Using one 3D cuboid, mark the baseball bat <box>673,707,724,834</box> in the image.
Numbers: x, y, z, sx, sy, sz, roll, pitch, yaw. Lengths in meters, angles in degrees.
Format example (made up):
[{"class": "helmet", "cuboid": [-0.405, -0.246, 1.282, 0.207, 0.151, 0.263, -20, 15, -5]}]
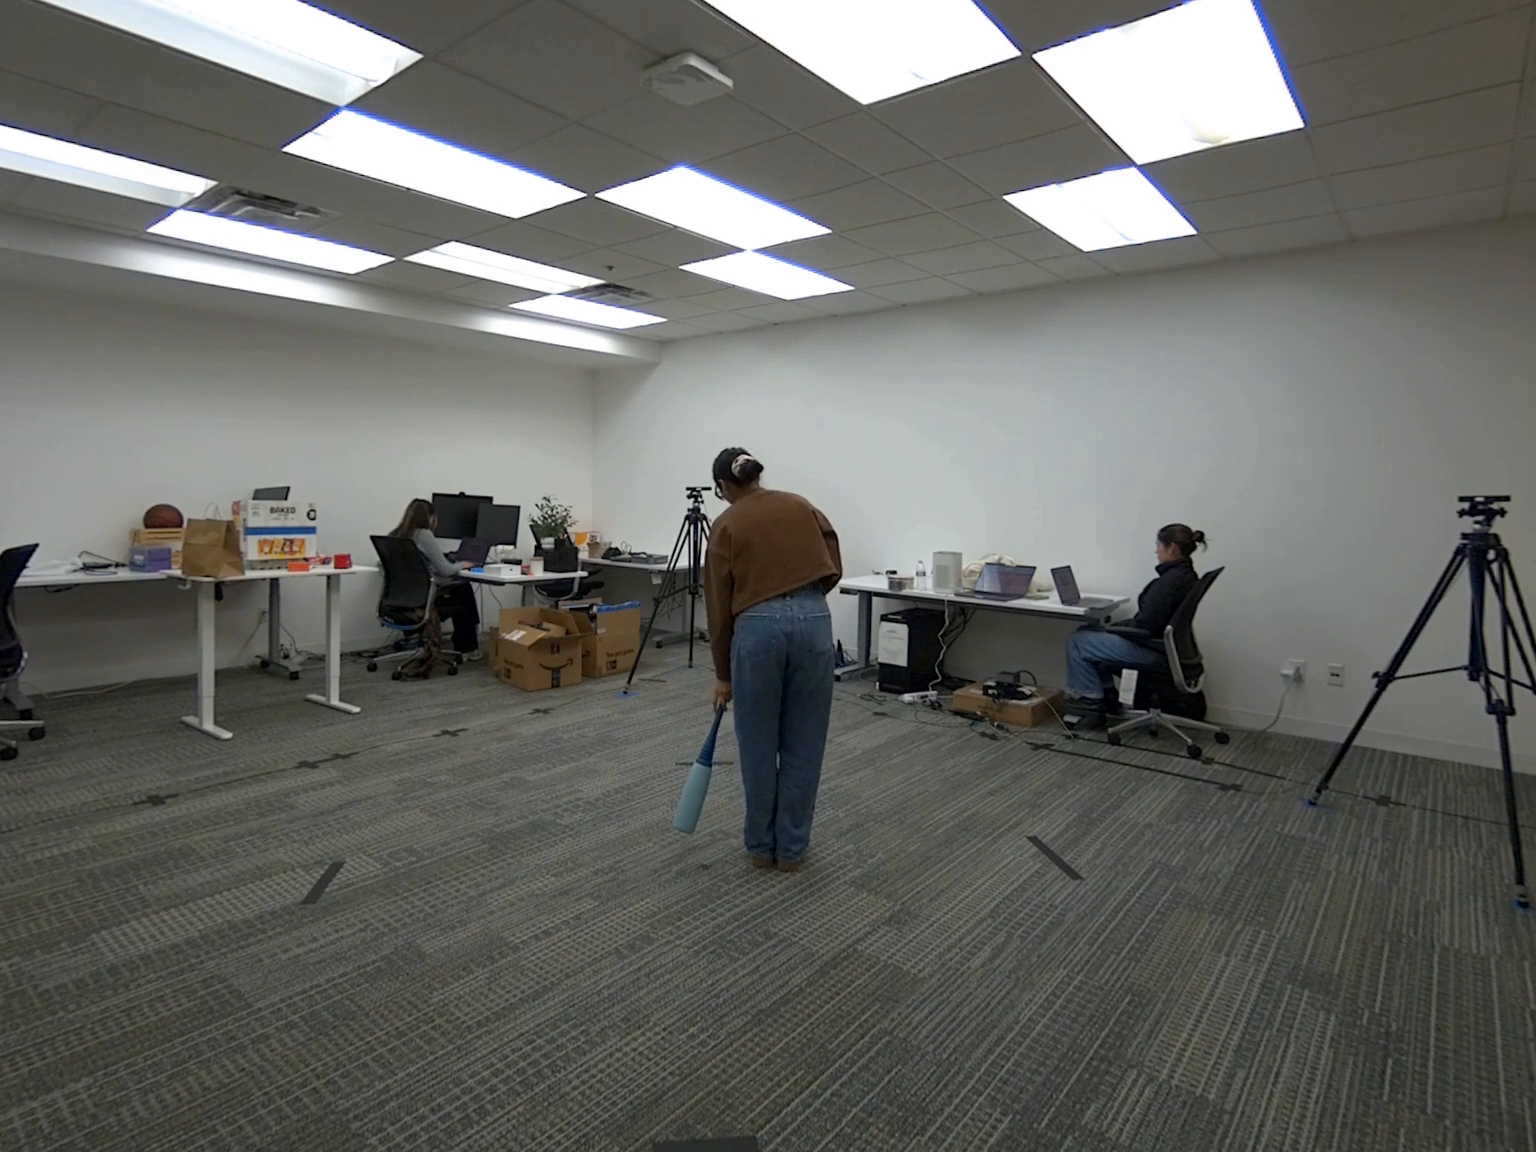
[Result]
[{"class": "baseball bat", "cuboid": [-0.238, 0.675, 3.198, 0.089, 0.546, 0.088, 15, -7, 0]}]
